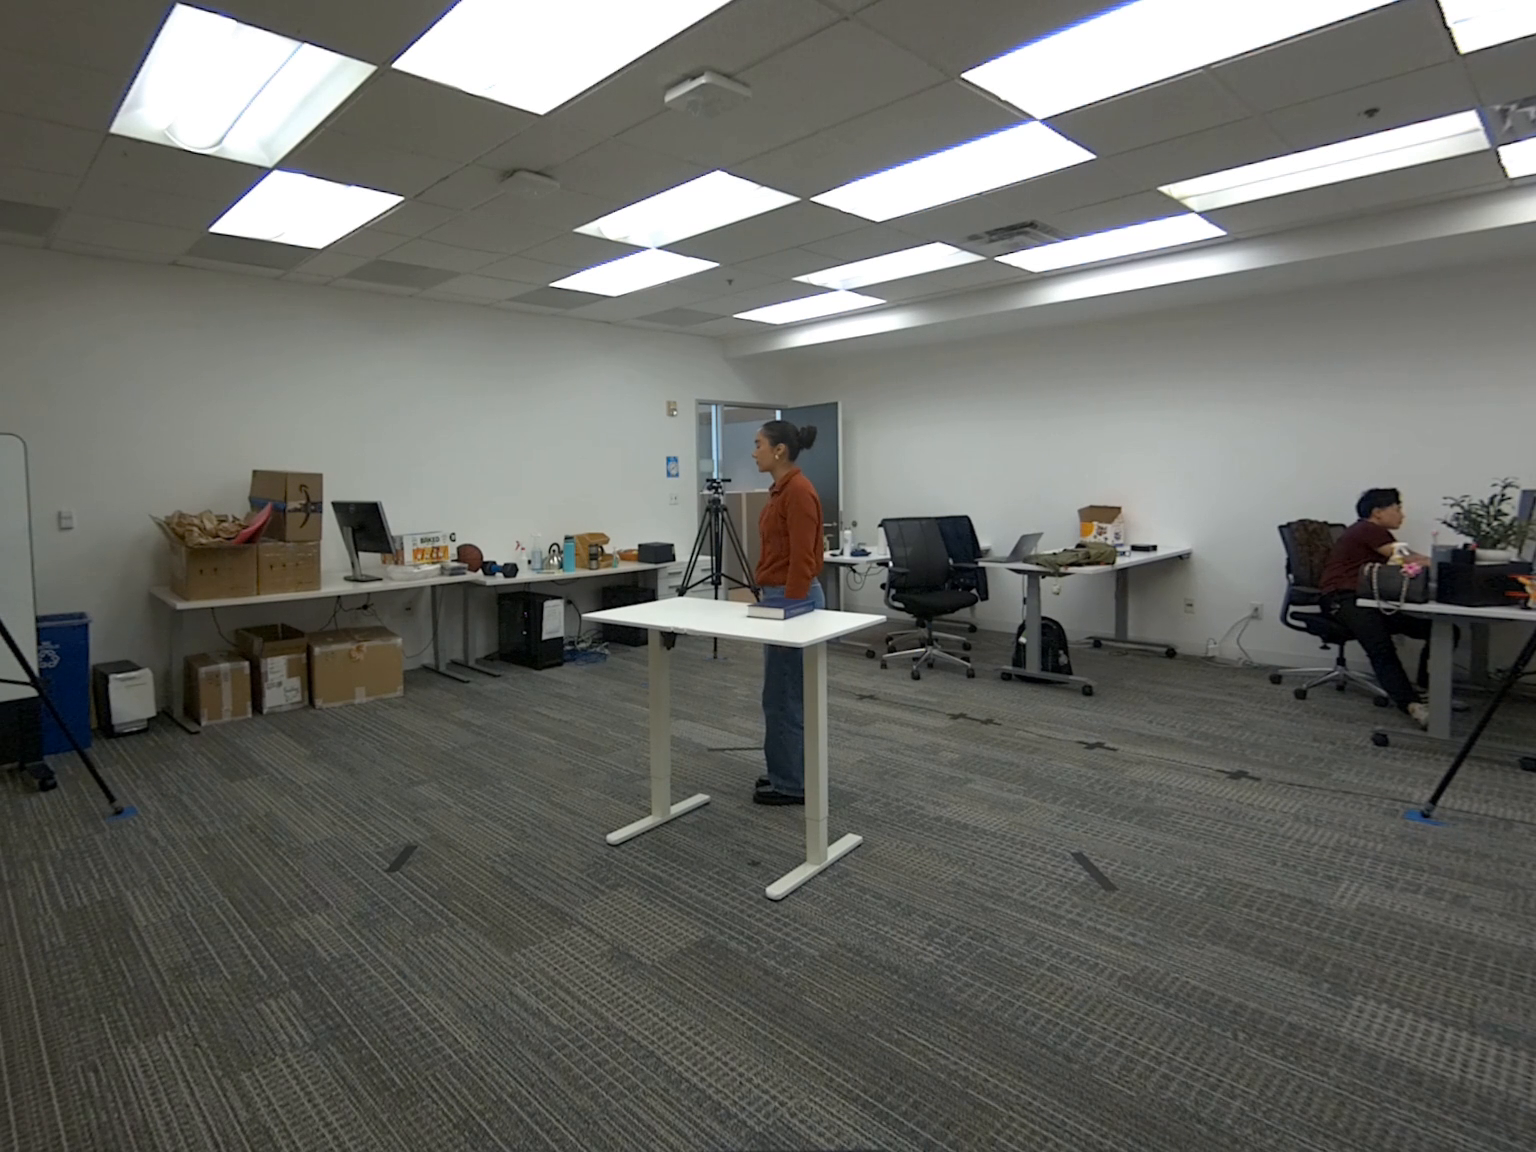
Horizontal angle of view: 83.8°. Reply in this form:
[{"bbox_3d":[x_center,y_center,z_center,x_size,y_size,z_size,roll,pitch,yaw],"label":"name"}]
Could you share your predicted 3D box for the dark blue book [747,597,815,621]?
[{"bbox_3d":[0.043,0.125,3.248,0.168,0.045,0.240,3,7,30],"label":"dark blue book"}]
